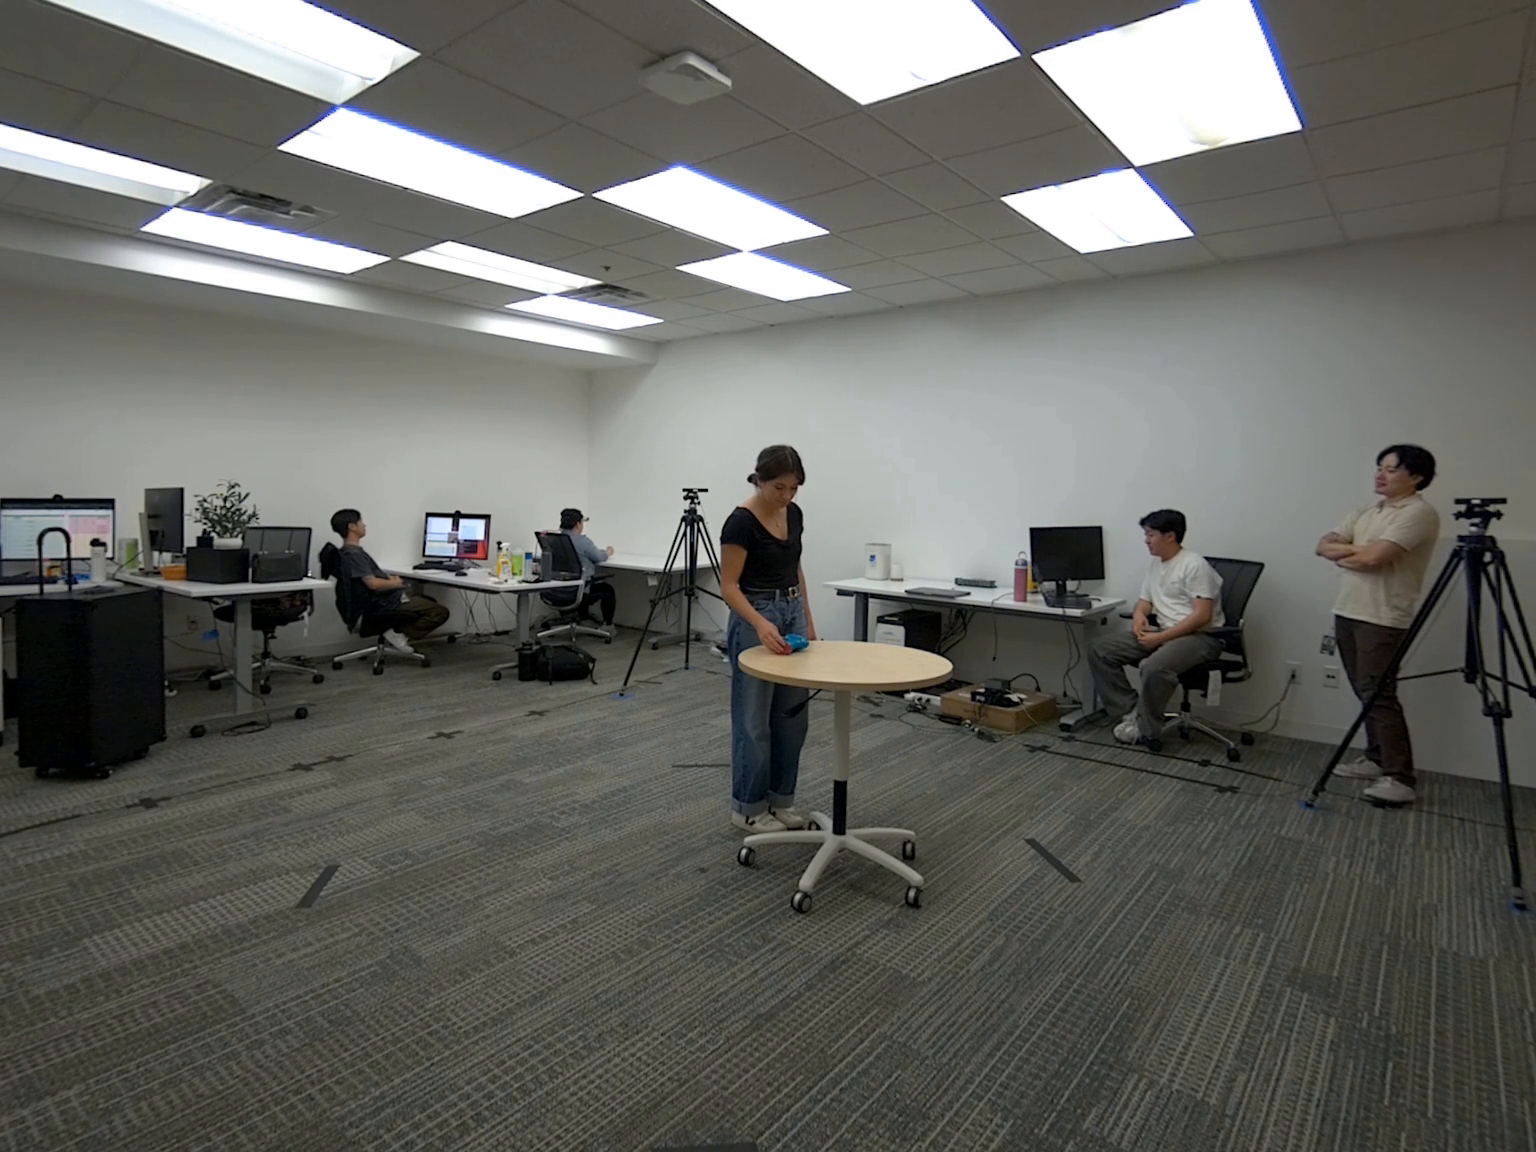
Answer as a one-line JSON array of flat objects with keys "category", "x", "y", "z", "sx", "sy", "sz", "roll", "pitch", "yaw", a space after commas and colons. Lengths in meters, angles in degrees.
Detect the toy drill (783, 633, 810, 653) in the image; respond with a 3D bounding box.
[{"category": "toy drill", "x": 0.064, "y": 0.251, "z": 3.234, "sx": 0.175, "sy": 0.061, "sz": 0.142, "roll": 2, "pitch": 8, "yaw": 37}]
